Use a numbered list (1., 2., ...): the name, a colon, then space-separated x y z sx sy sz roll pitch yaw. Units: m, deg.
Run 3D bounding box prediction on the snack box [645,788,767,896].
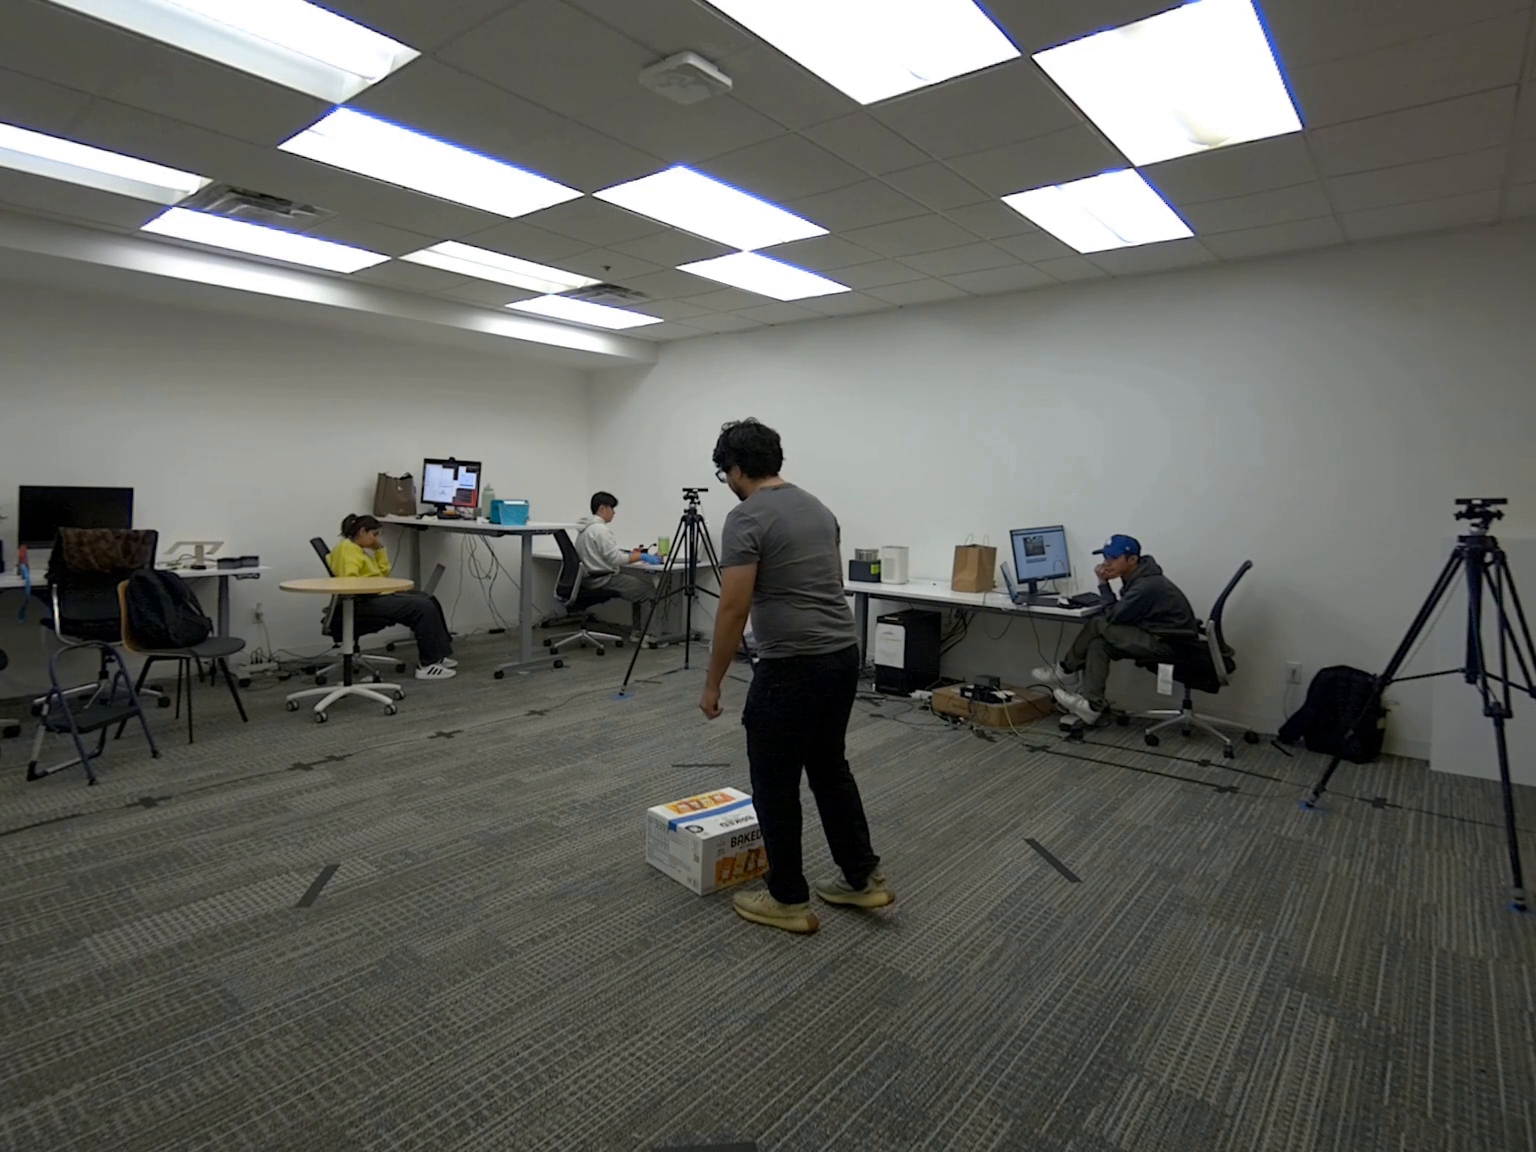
1. snack box: -0.200 0.966 3.140 0.393 0.205 0.352 -3 6 -41
